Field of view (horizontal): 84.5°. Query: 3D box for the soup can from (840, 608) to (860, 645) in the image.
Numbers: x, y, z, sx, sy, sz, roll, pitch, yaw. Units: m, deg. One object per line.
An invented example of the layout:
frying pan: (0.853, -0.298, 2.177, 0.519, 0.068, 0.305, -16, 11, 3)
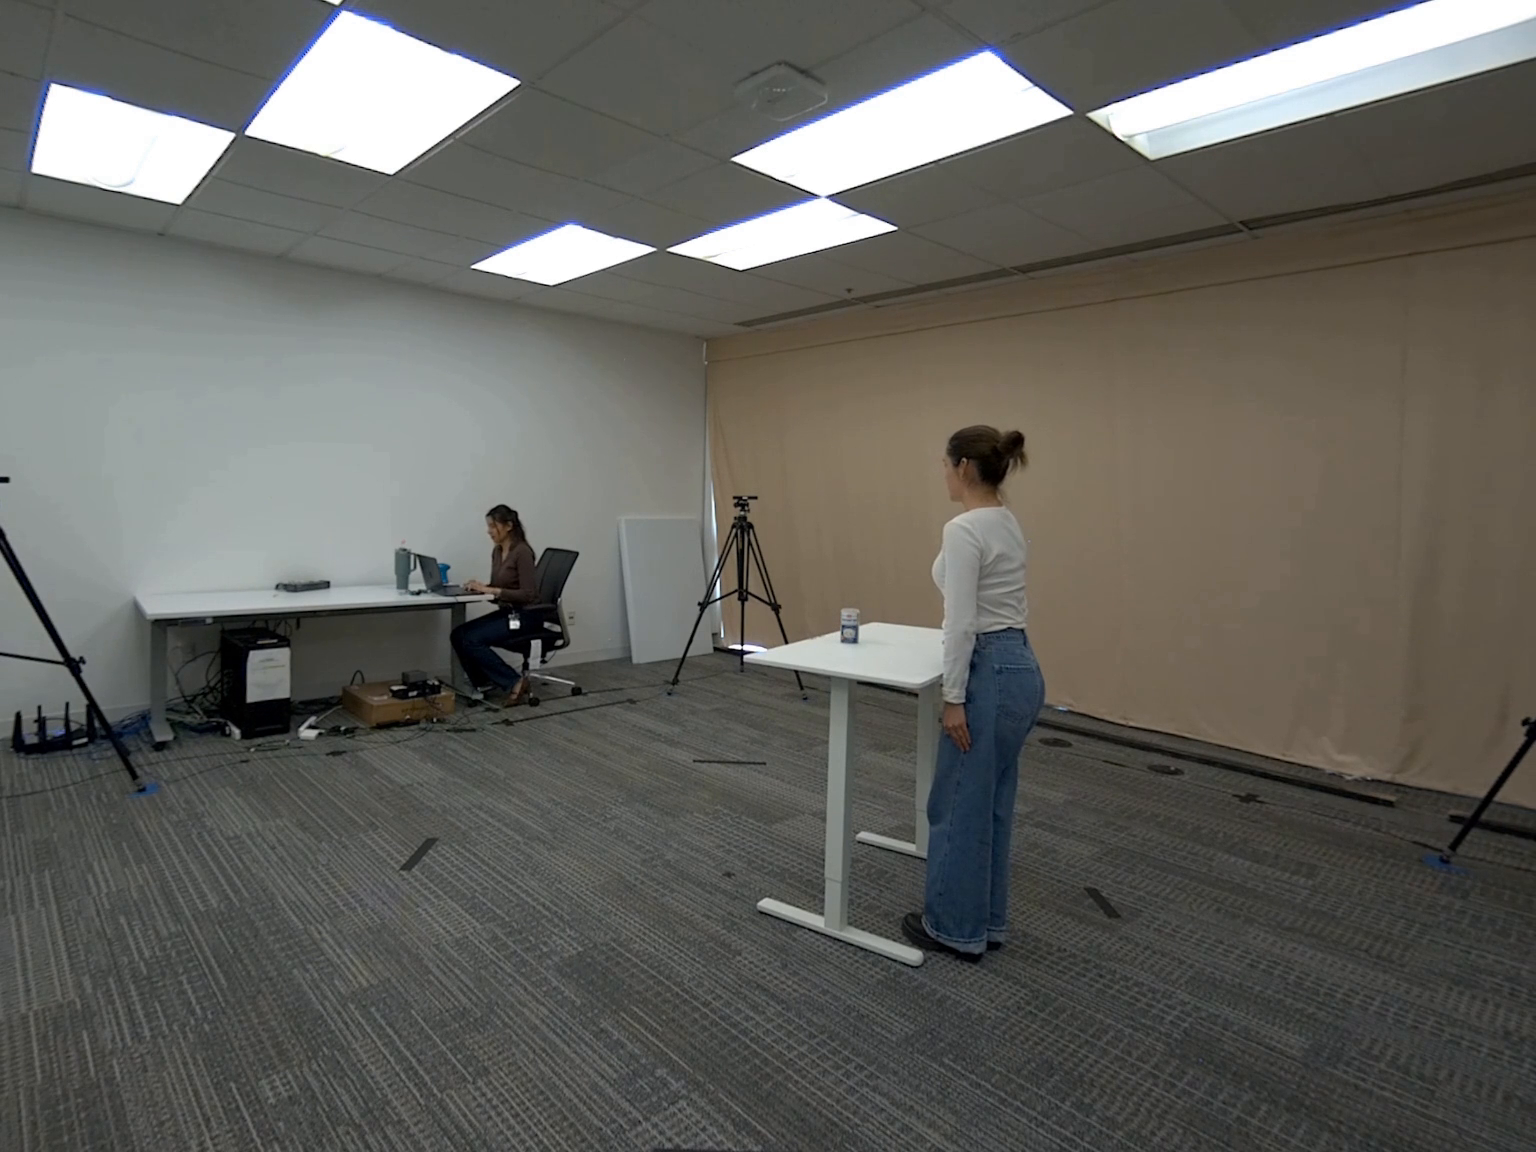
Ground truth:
soup can: (0.290, 0.180, 3.024, 0.067, 0.121, 0.067, 2, 3, -1)
